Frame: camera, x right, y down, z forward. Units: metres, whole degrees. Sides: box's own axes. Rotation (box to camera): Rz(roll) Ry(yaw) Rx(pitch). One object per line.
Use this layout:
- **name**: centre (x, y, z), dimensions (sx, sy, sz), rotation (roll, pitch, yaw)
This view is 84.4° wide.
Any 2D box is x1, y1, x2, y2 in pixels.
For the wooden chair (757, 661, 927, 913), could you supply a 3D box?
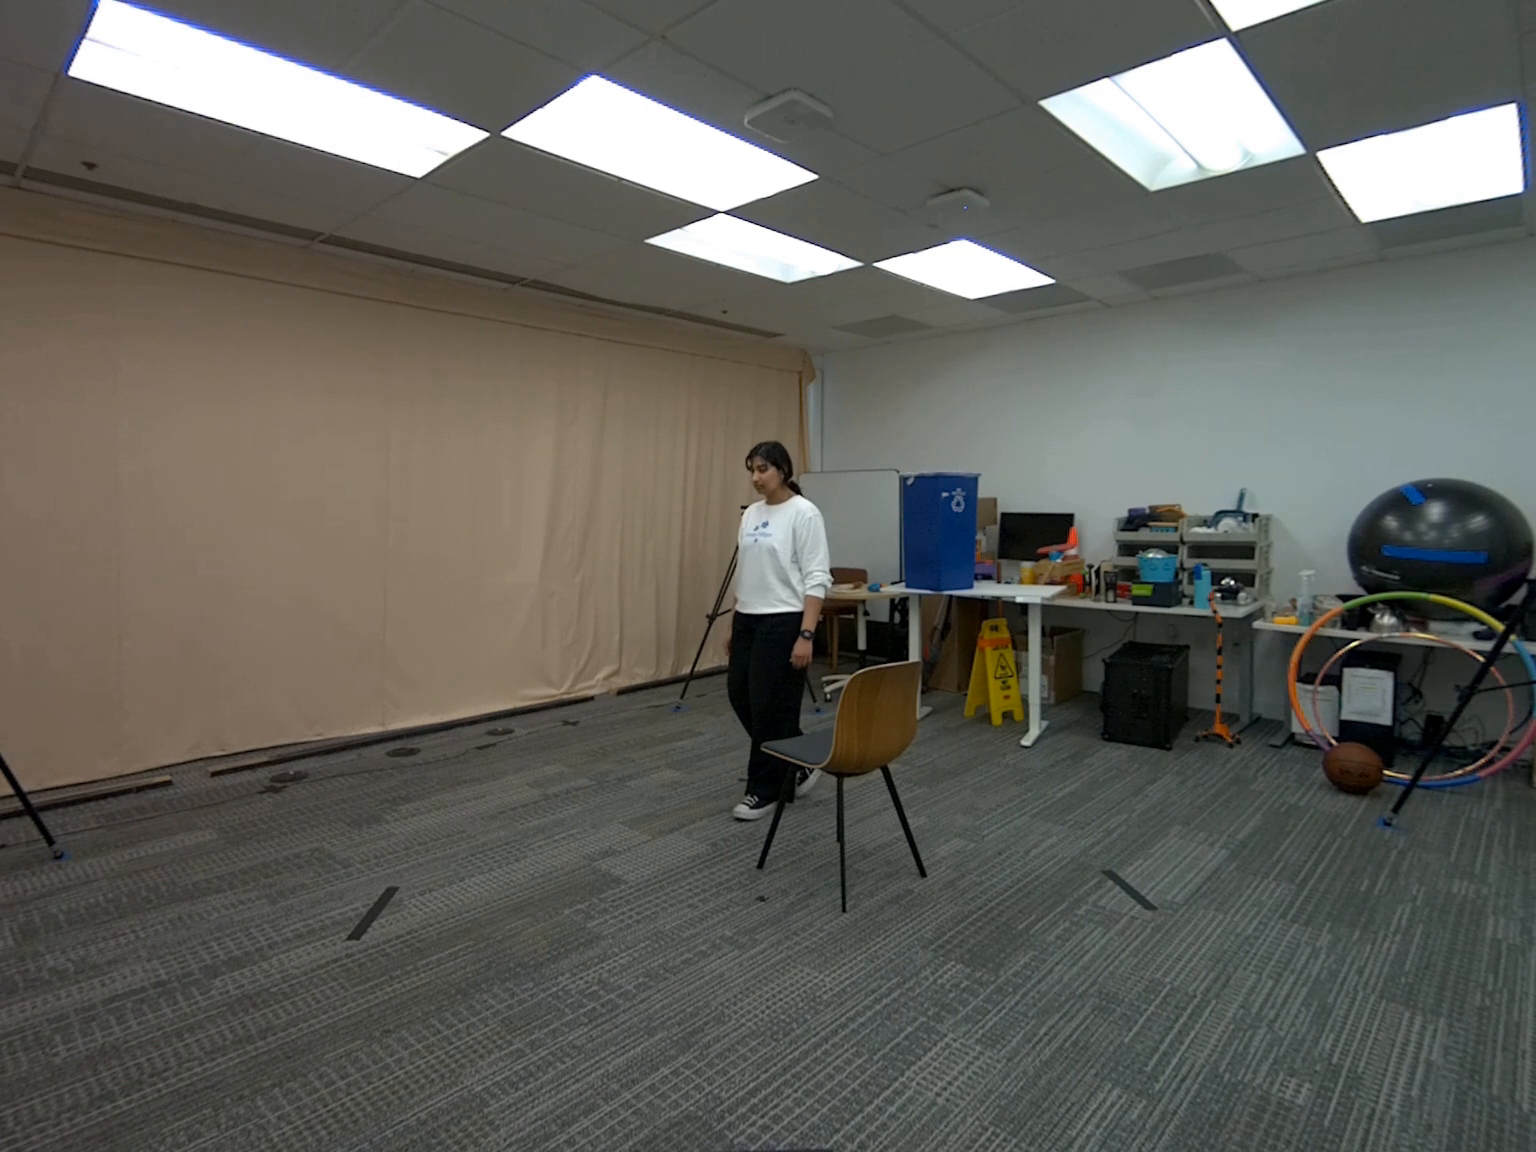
- **wooden chair**: centre (0.279, 0.701, 3.163), dimensions (0.463, 0.874, 0.541), rotation (-3, 9, -41)
